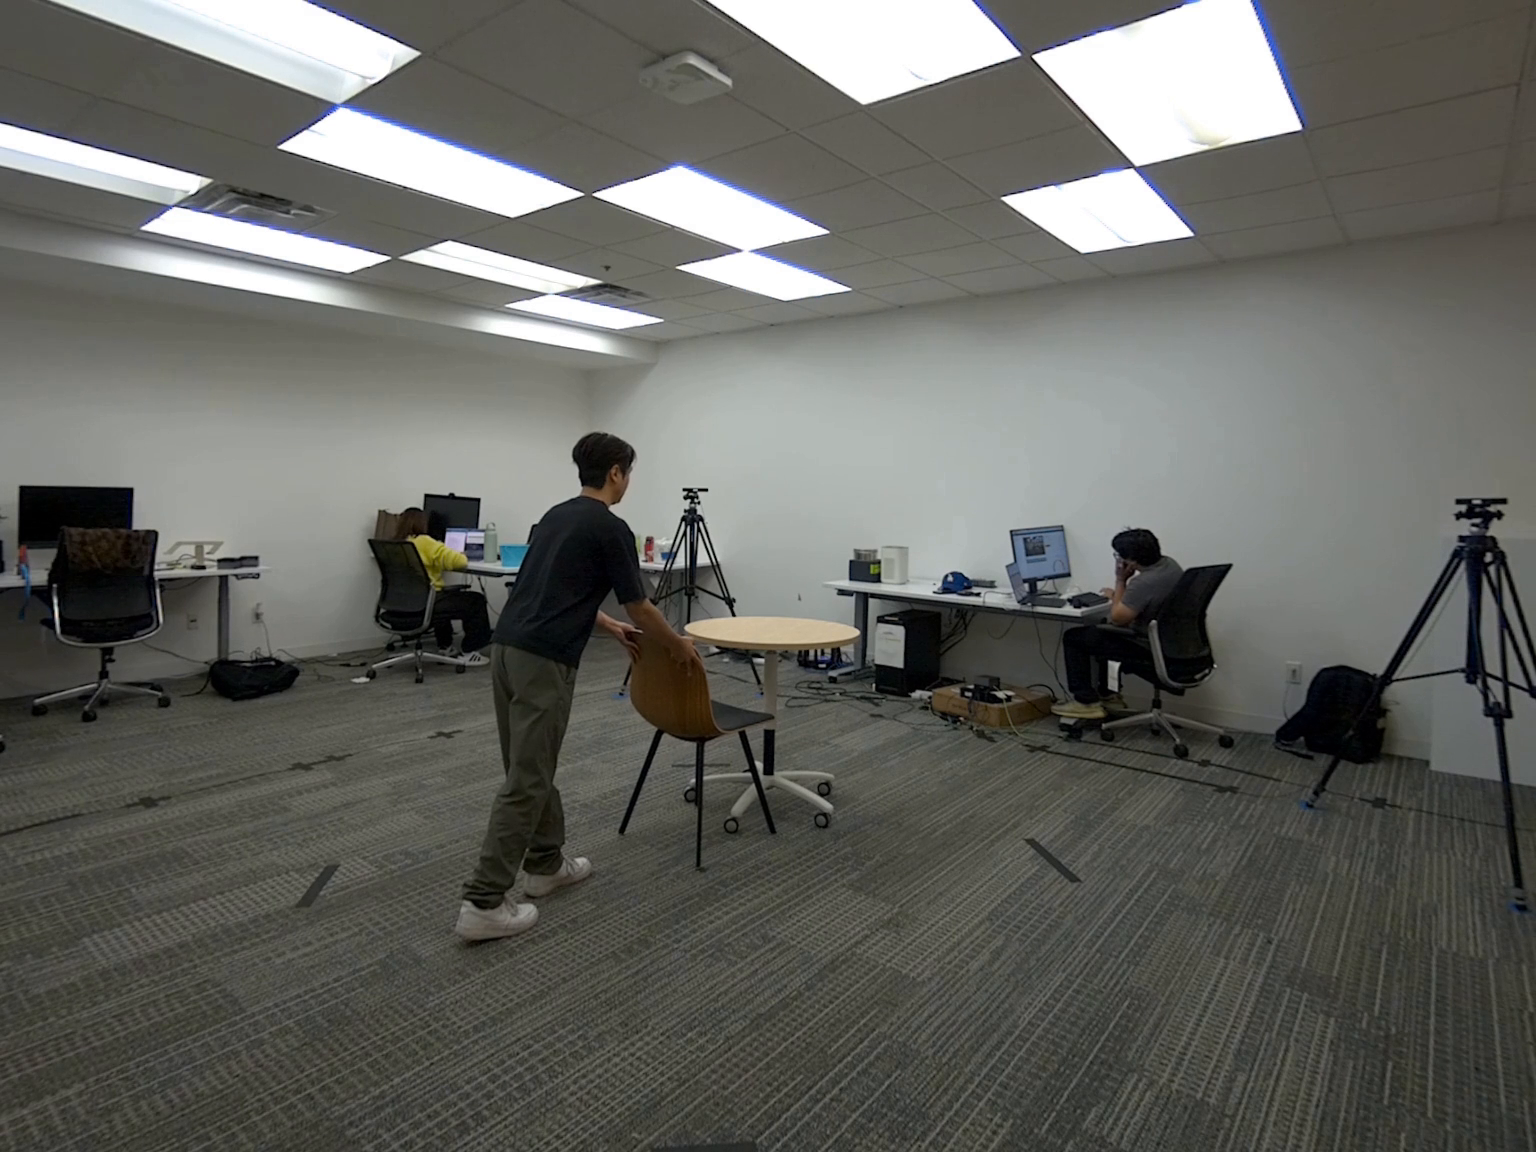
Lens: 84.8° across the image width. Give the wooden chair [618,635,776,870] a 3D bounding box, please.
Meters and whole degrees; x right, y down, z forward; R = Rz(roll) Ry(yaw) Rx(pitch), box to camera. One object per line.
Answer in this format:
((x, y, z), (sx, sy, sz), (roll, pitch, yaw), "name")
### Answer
((-0.281, 0.614, 3.408), (0.494, 0.872, 0.509), (4, 8, 42), "wooden chair")
